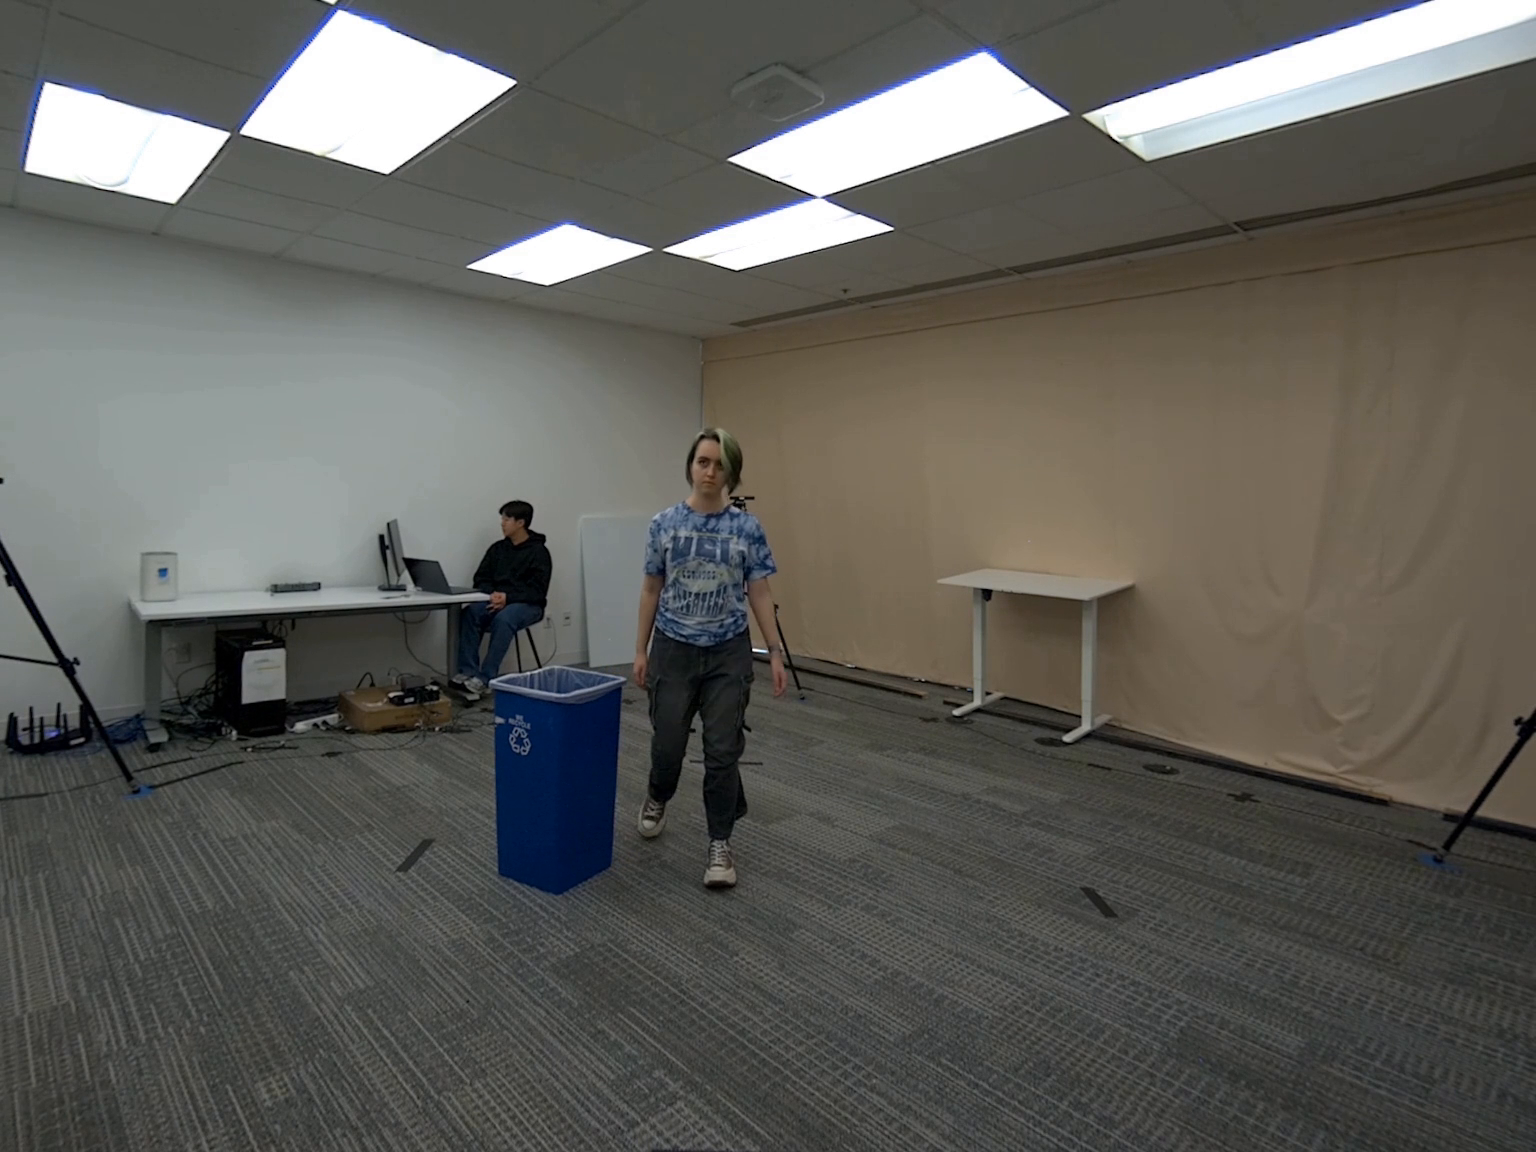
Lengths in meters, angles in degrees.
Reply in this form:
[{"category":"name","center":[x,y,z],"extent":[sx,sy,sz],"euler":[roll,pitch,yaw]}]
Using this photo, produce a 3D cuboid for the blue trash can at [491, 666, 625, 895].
[{"category":"blue trash can","center":[-0.773,0.733,3.090],"extent":[0.382,0.712,0.370],"euler":[4,4,31]}]
